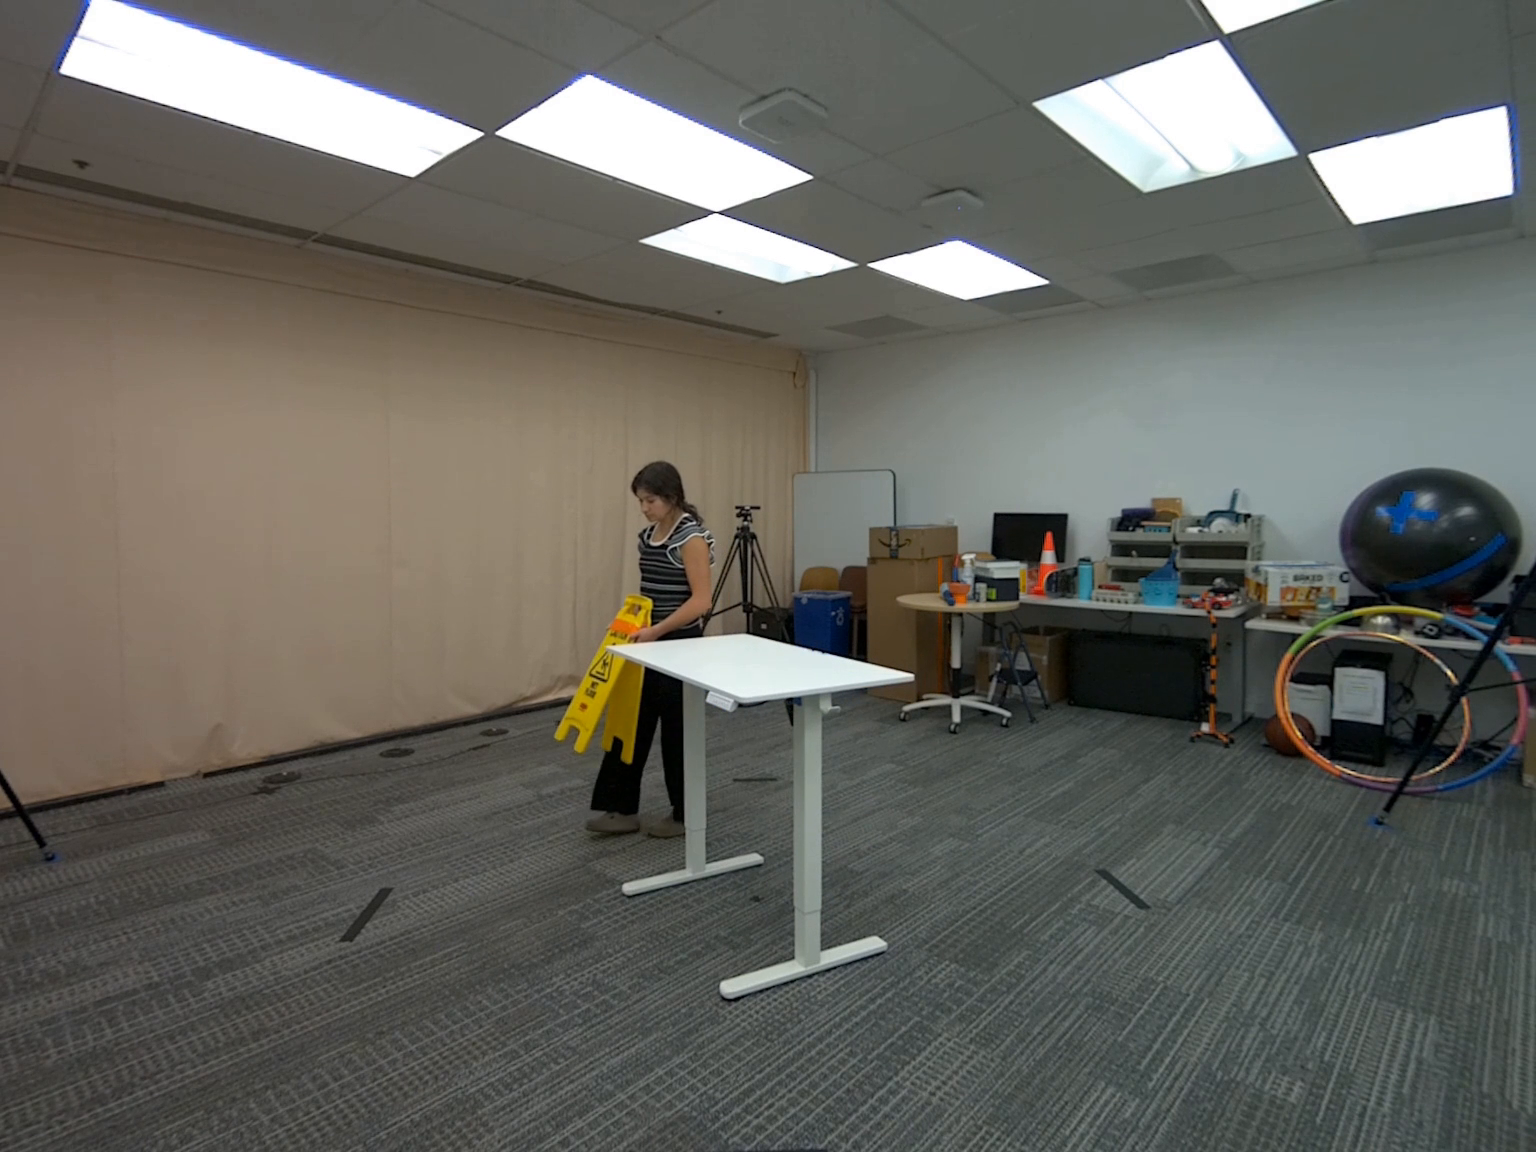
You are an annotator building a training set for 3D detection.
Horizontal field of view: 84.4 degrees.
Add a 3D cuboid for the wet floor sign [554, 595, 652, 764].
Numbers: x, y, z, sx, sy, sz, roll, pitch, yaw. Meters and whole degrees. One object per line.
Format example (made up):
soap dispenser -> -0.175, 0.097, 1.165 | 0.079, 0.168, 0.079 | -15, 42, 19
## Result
wet floor sign -> -0.613, 0.400, 3.442 | 0.280, 0.647, 0.291 | 19, -8, -32
